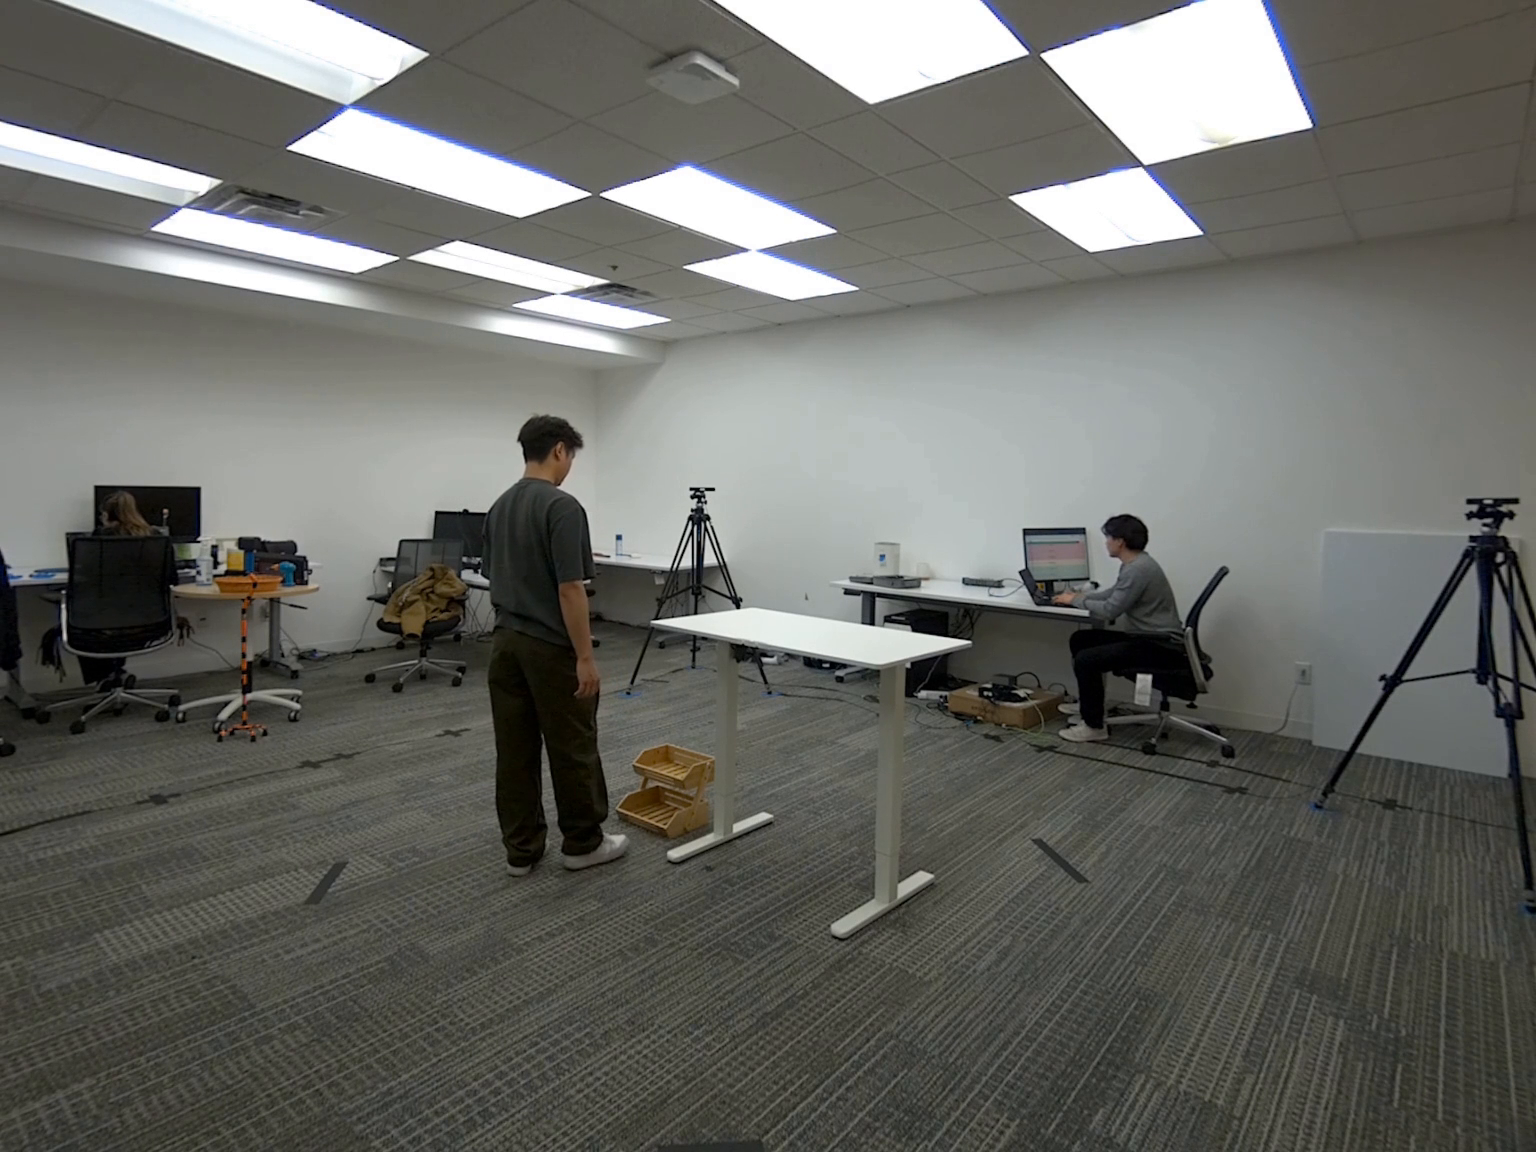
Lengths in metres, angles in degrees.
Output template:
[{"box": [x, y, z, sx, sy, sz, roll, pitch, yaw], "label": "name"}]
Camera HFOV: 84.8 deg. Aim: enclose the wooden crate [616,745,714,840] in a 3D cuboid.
[{"box": [-0.435, 0.886, 3.561, 0.335, 0.272, 0.293, 5, 6, 39], "label": "wooden crate"}]
